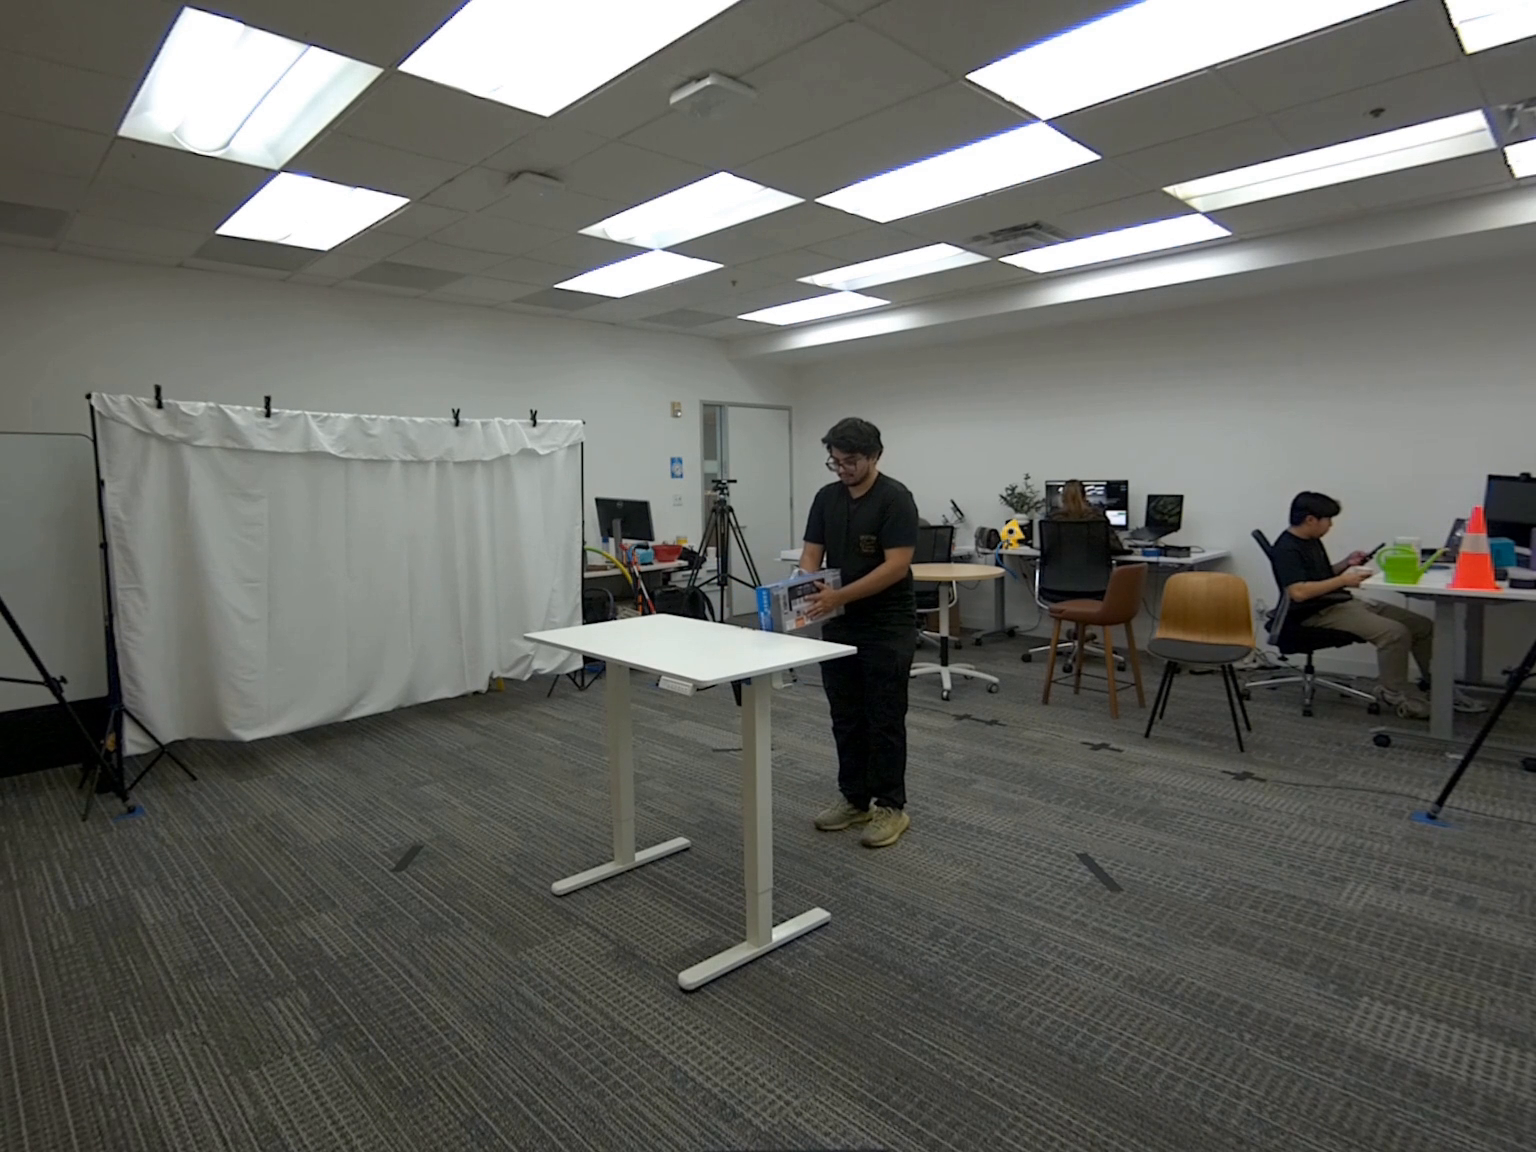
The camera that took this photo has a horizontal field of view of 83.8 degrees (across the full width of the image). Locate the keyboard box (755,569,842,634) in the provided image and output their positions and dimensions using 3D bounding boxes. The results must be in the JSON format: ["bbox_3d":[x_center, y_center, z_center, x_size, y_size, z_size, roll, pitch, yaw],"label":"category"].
[{"bbox_3d":[0.123,0.094,3.095,0.061,0.175,0.427,-4,6,40],"label":"keyboard box"}]
